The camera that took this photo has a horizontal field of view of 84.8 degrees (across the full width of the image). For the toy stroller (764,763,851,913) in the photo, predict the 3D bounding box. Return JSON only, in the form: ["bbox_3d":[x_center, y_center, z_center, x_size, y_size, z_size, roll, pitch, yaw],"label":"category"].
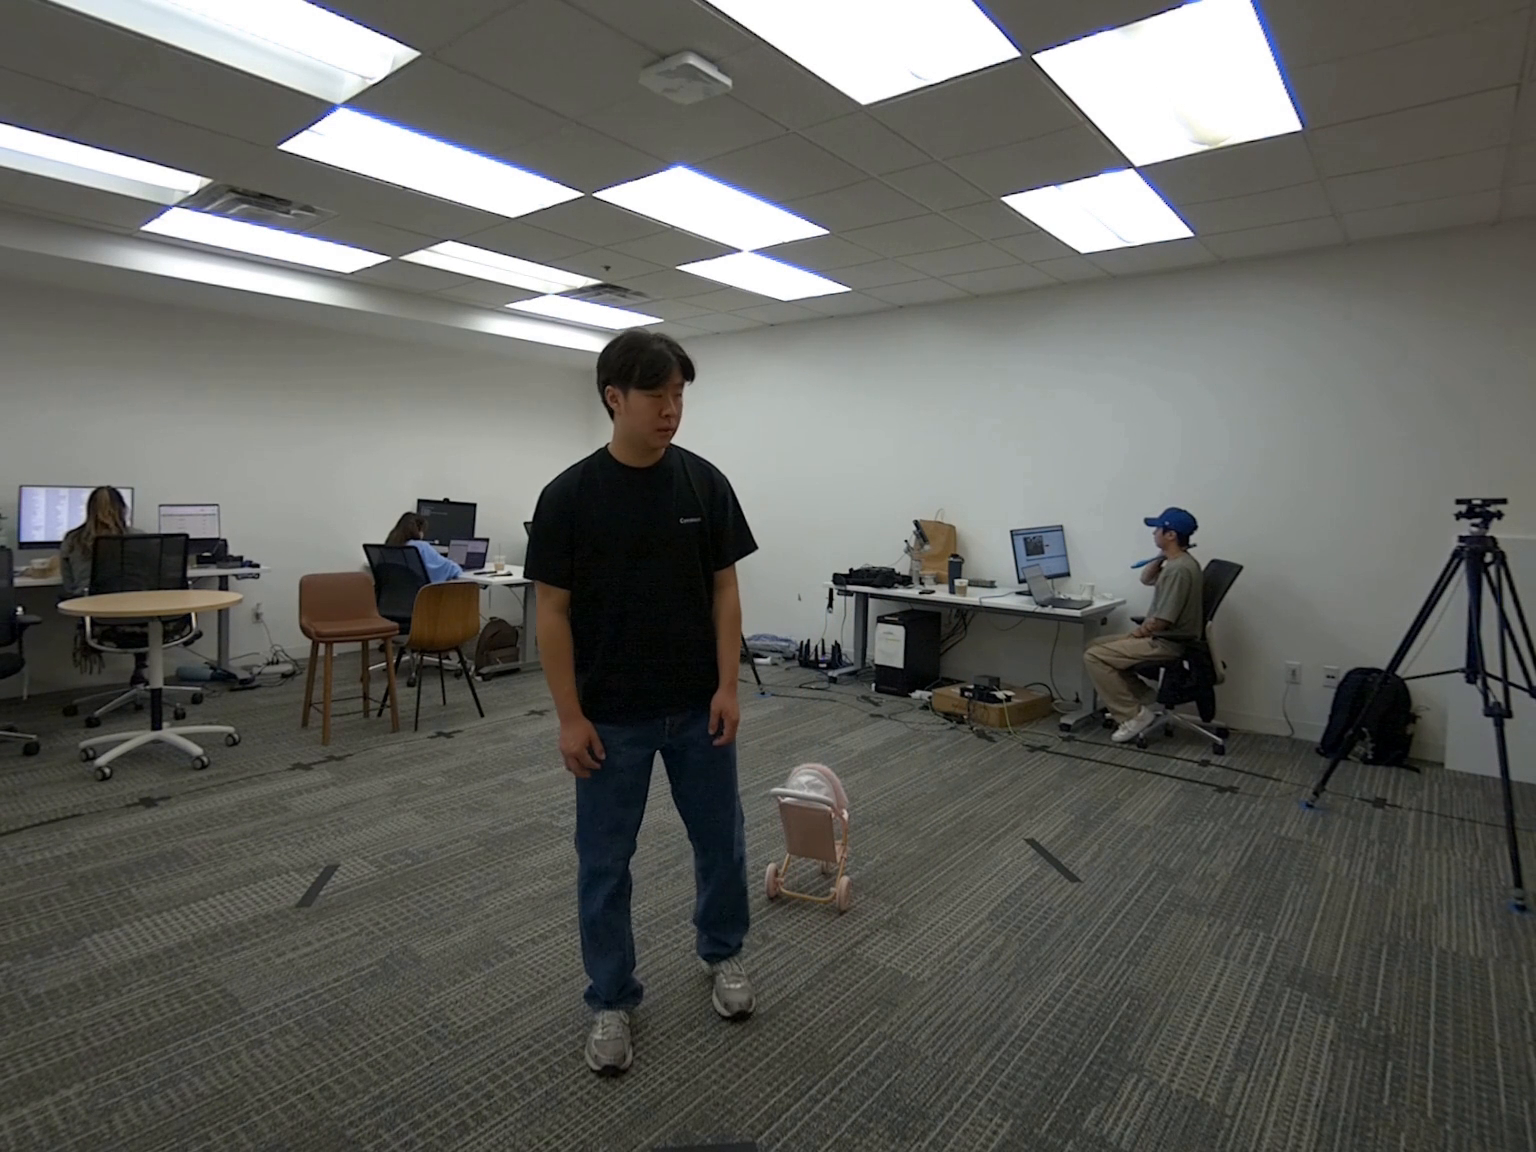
[{"bbox_3d":[0.152,0.871,2.921,0.288,0.525,0.339,4,20,22],"label":"toy stroller"}]
